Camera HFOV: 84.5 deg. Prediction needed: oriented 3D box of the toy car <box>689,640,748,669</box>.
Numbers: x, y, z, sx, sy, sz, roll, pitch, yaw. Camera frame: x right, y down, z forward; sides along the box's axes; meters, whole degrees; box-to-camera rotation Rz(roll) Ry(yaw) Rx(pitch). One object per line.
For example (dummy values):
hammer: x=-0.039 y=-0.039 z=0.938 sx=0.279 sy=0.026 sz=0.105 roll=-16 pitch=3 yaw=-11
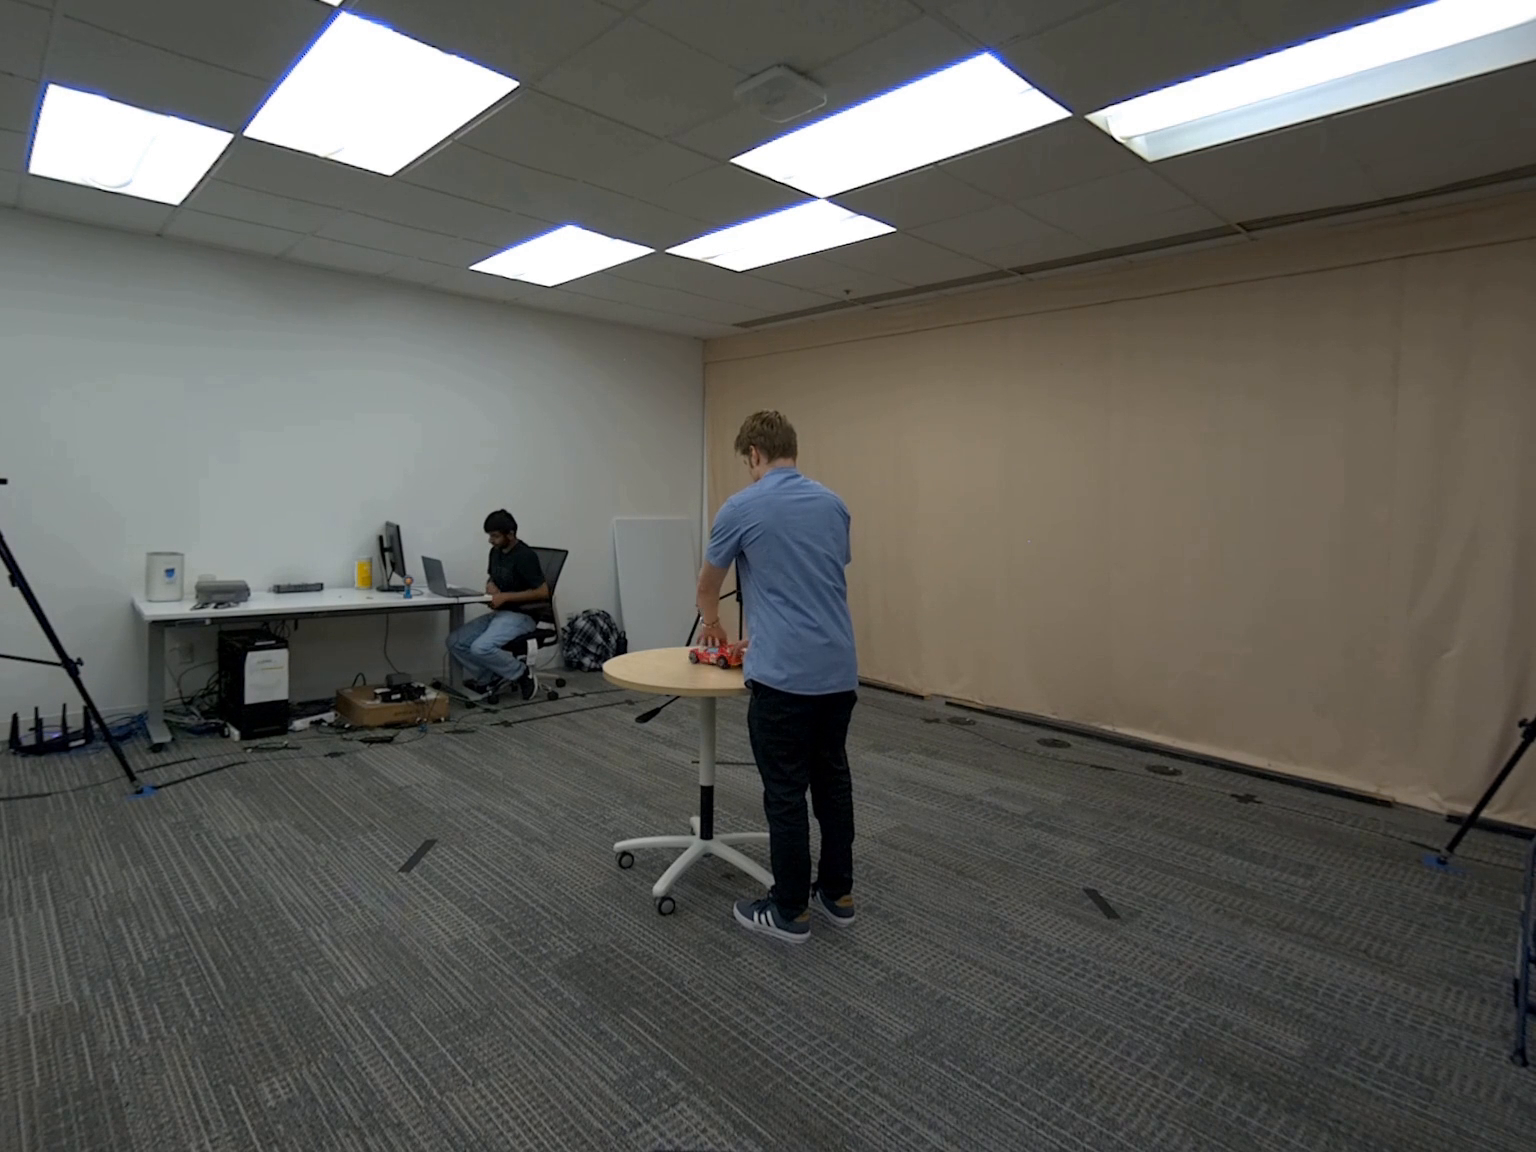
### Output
toy car: x=-0.177 y=0.297 z=3.061 sx=0.259 sy=0.083 sz=0.127 roll=-8 pitch=-3 yaw=40
